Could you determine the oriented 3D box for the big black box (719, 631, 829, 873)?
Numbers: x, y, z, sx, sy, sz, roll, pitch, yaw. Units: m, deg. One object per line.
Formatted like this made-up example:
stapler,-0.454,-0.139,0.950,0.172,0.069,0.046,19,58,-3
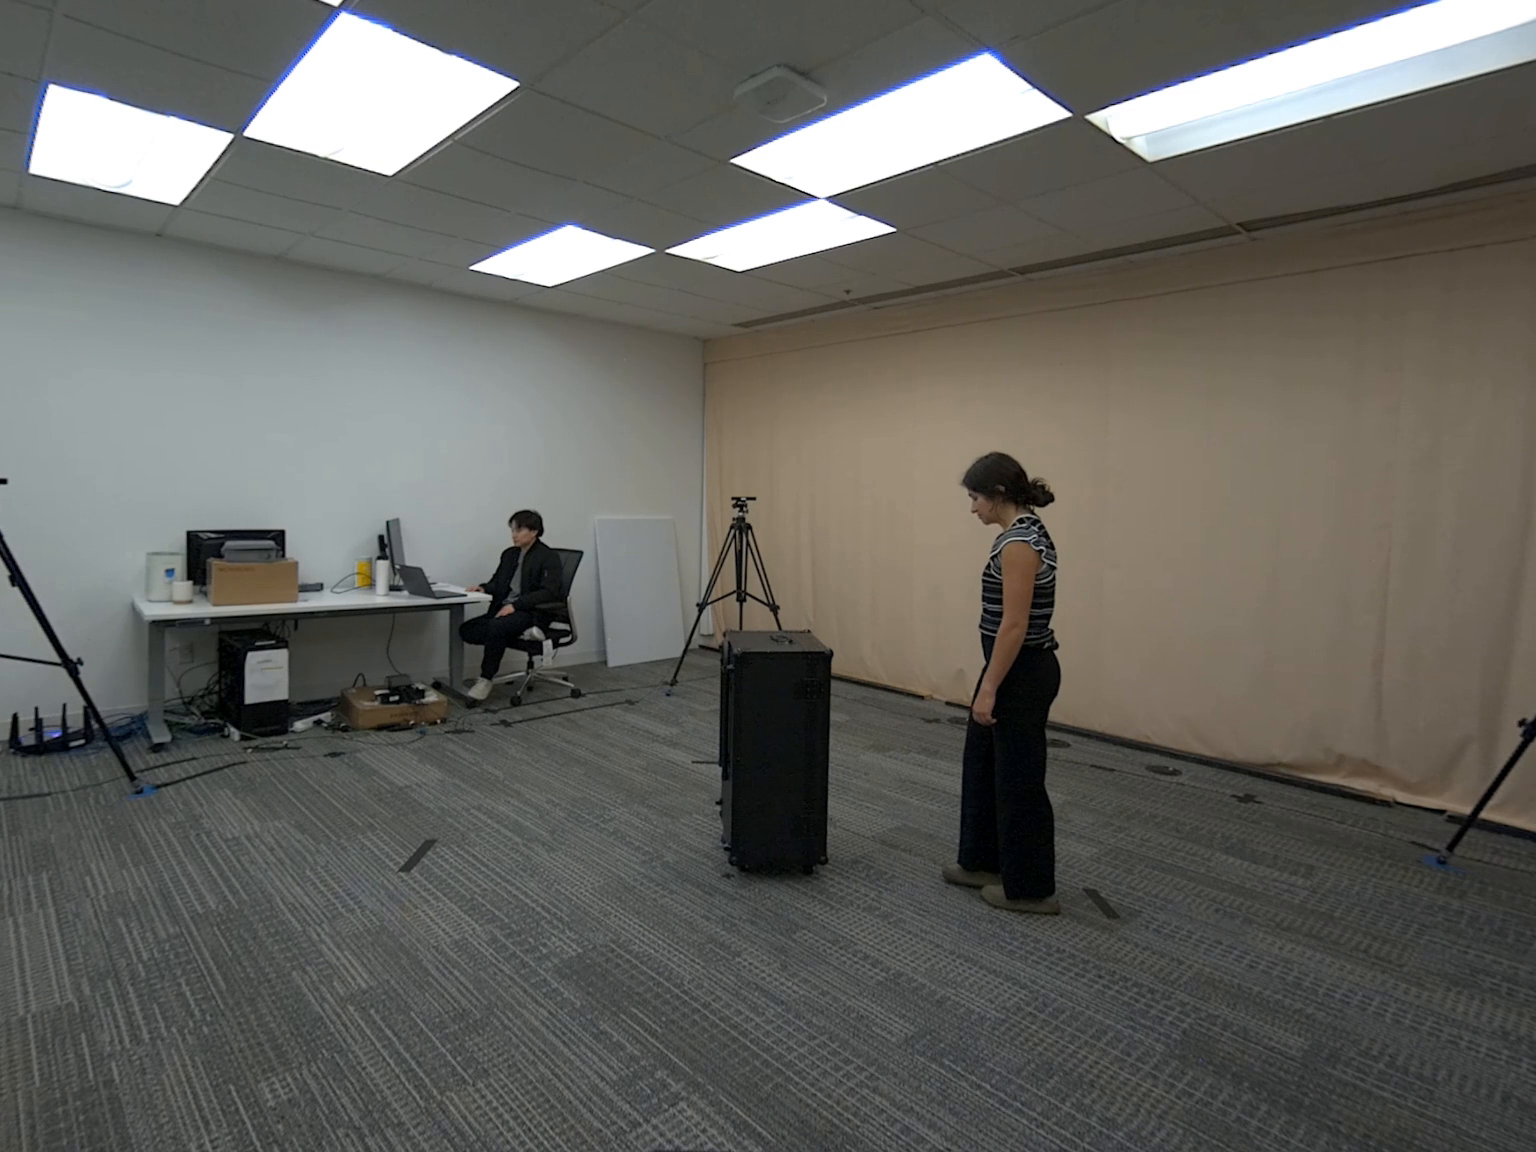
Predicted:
big black box,-0.002,0.669,3.259,0.395,0.859,0.525,1,4,-5
